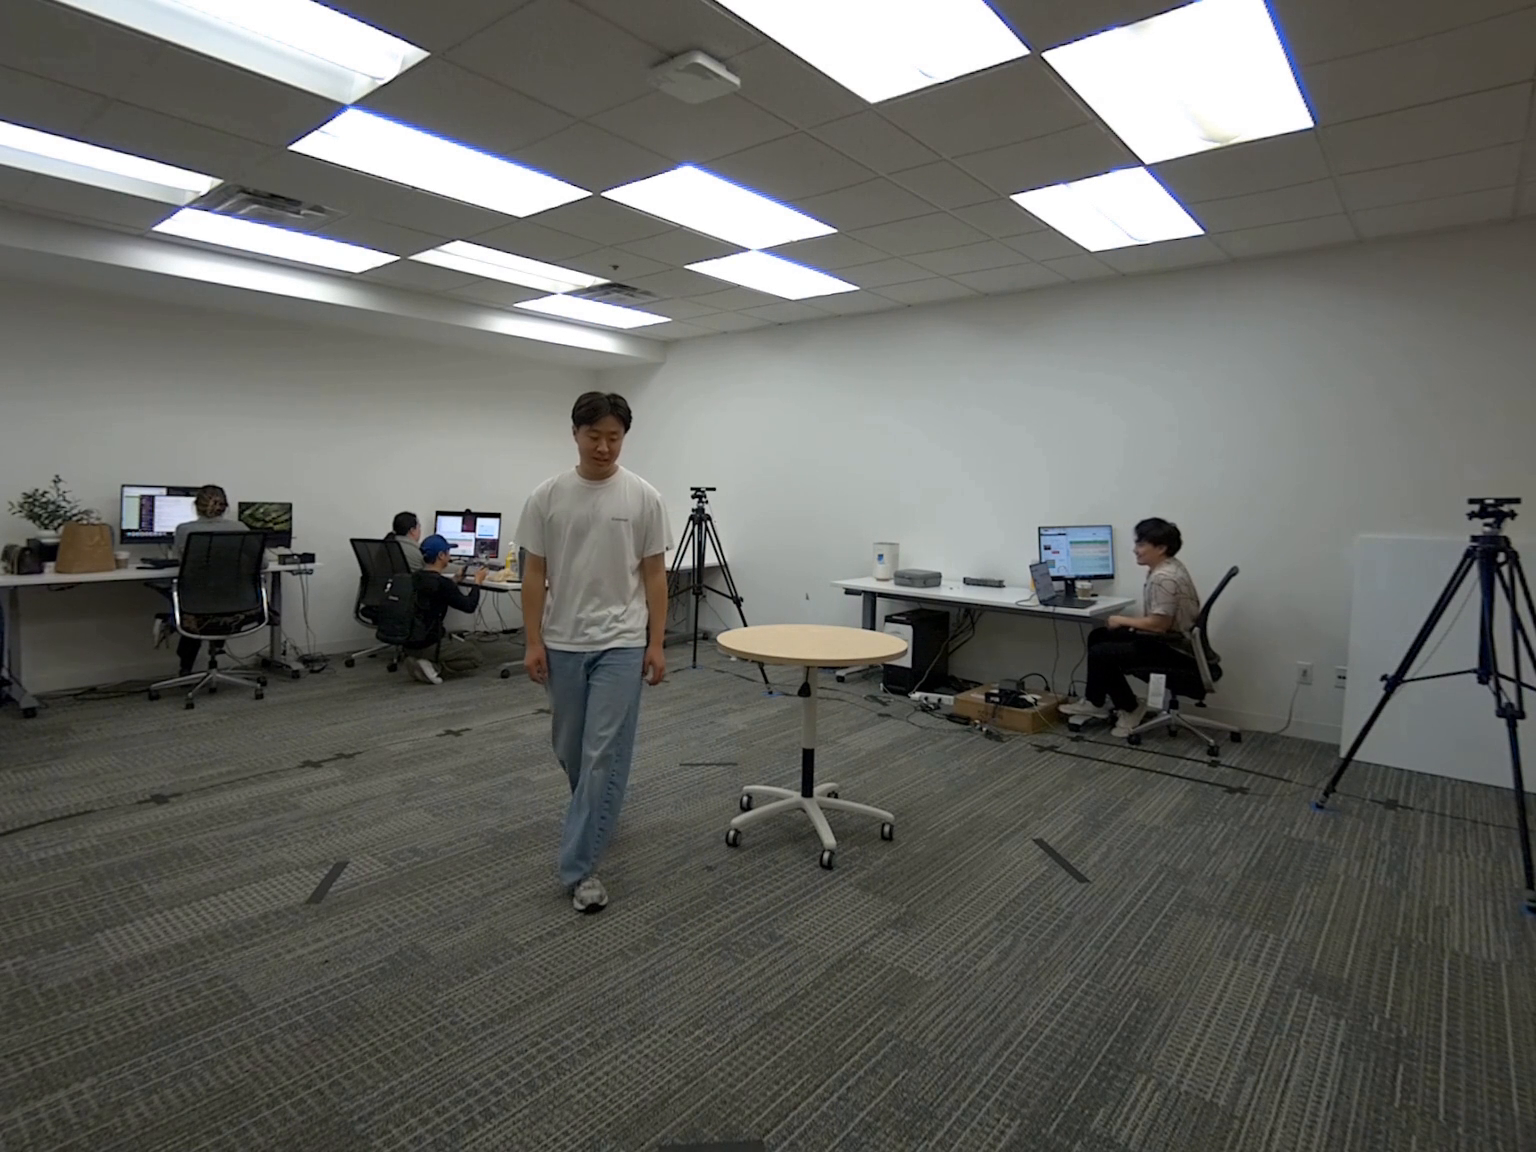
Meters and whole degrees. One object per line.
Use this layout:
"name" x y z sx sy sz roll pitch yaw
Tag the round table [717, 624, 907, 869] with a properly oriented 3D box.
"round table" 0.148 0.650 3.465 0.763 0.791 0.768 1 4 -2
